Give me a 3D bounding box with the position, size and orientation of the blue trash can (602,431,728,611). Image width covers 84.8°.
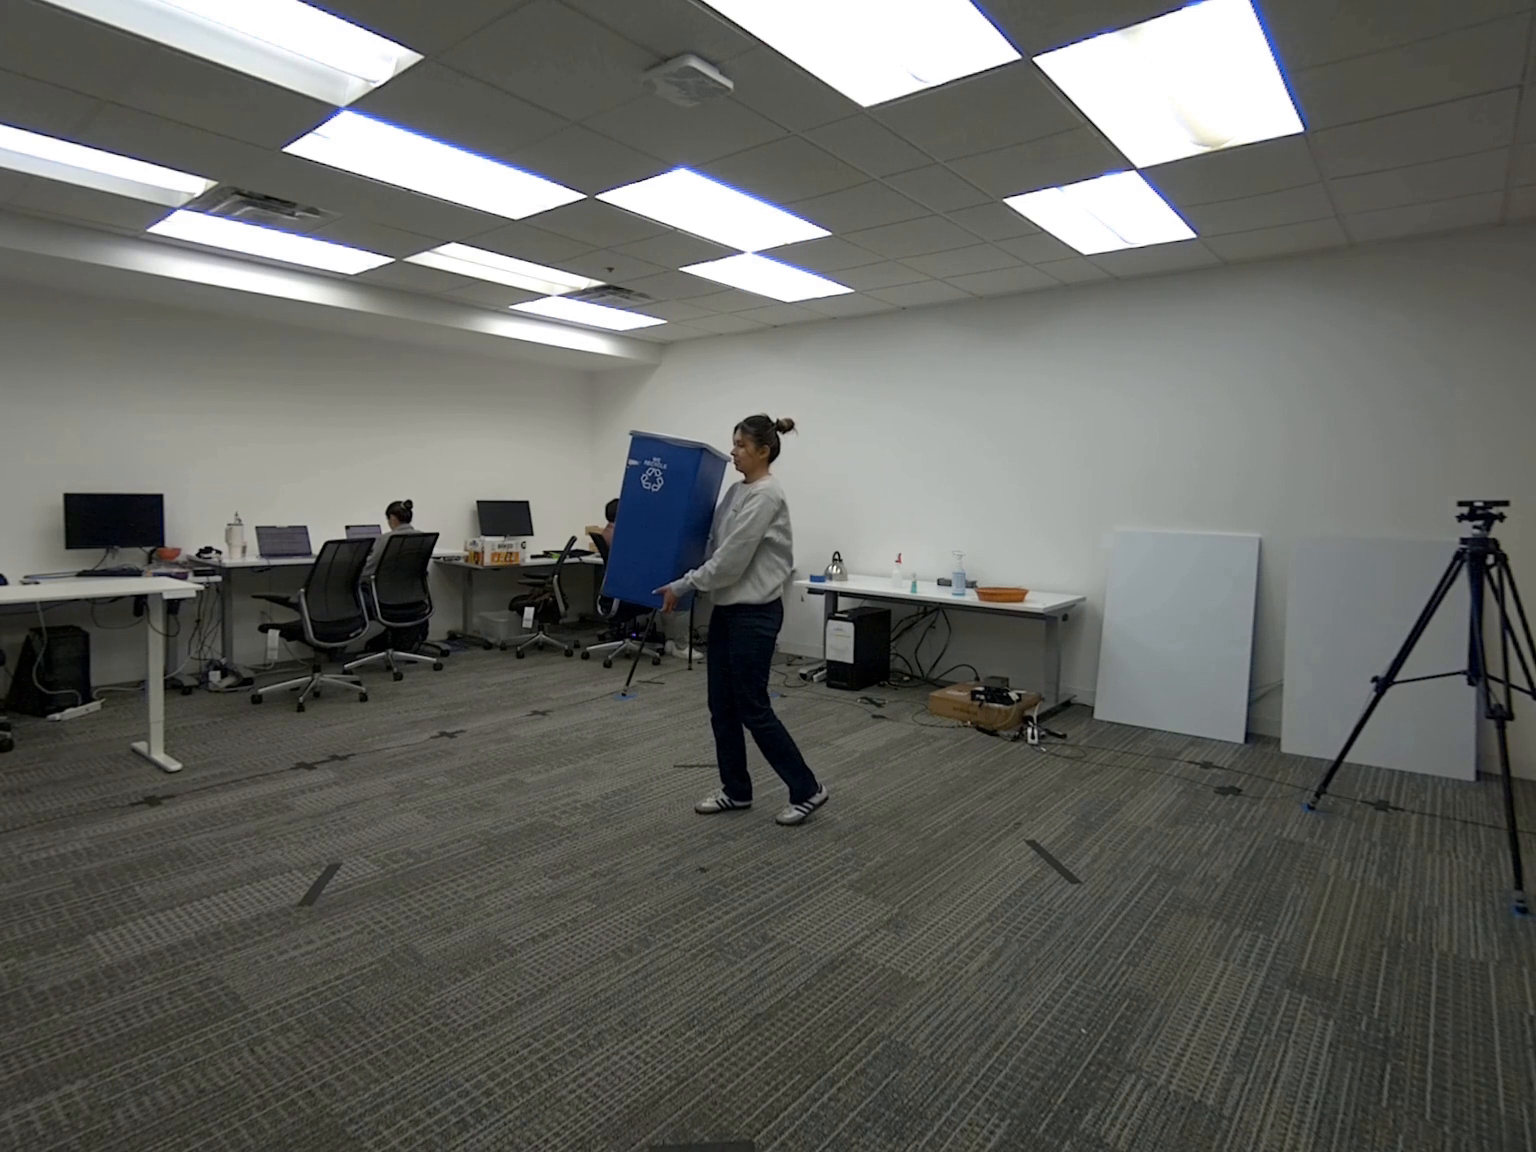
[{"bbox_3d":[-0.457,-0.237,3.709,0.382,0.714,0.370,11,-1,17],"label":"blue trash can"}]
